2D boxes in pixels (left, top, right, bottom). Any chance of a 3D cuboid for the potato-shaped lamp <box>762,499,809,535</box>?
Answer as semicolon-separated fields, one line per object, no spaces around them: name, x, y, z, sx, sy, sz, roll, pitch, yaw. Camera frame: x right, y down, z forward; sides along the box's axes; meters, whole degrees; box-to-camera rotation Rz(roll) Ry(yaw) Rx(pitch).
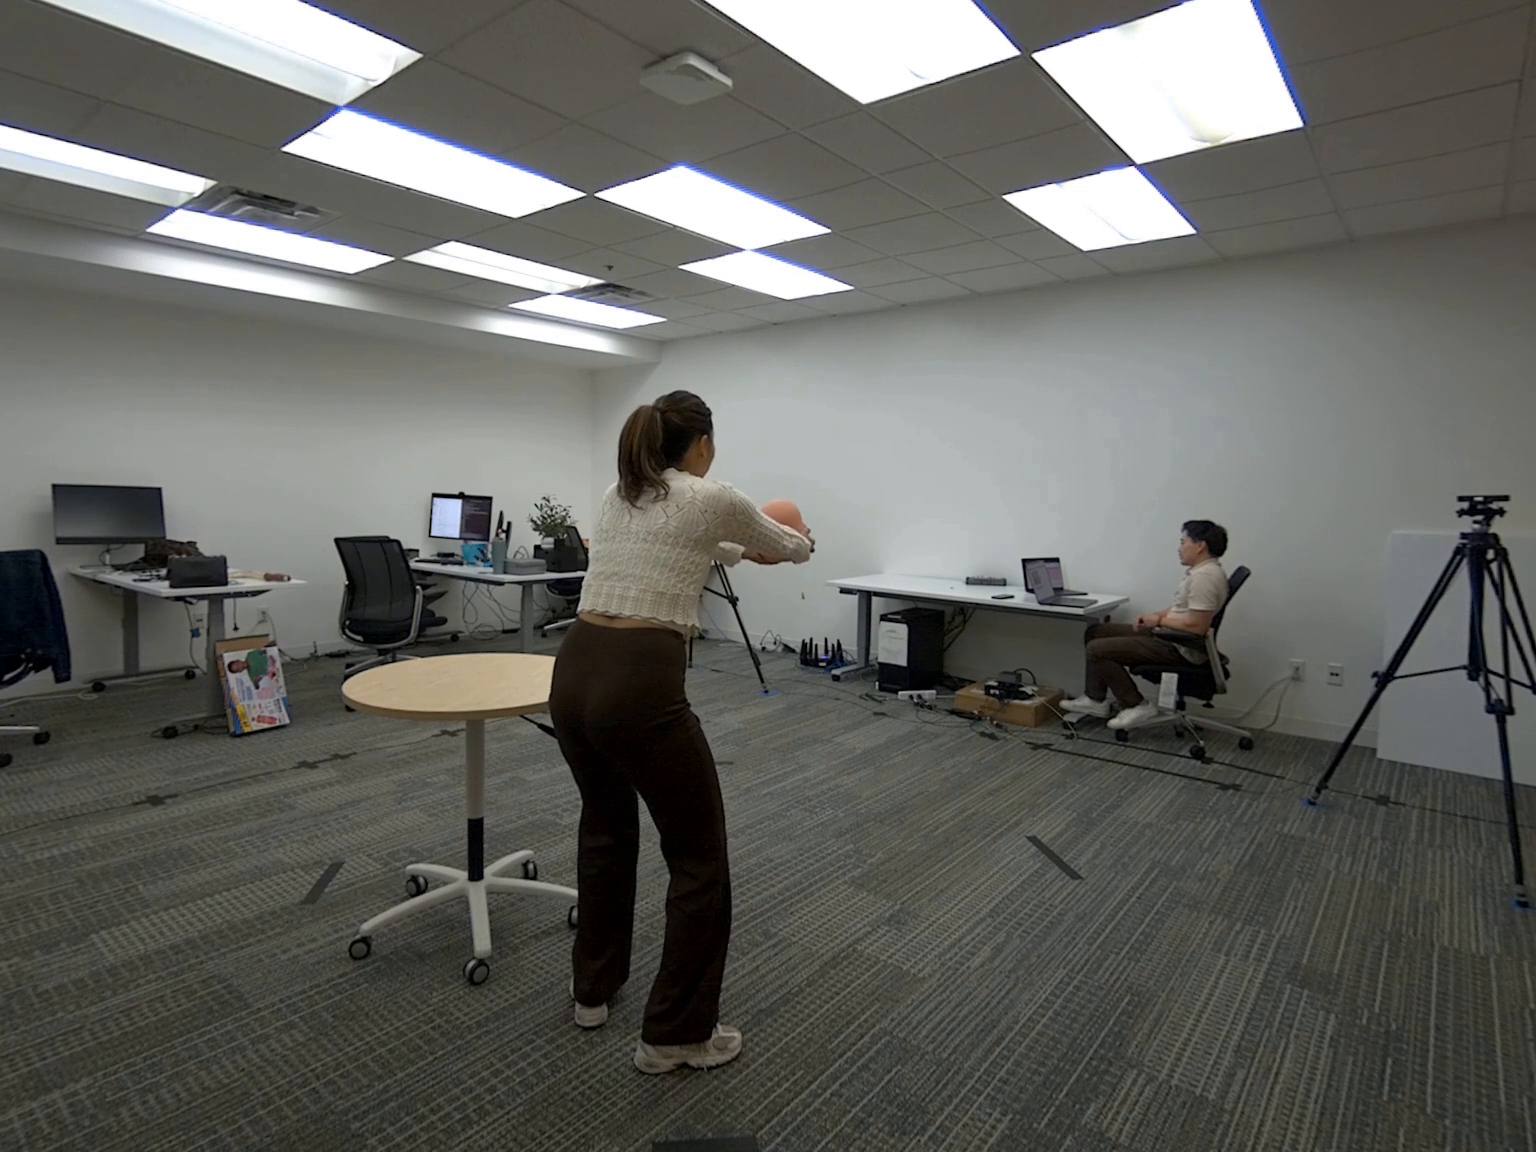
potato-shaped lamp;0.031;-0.144;2.698;0.170;0.197;0.167;3;9;38
